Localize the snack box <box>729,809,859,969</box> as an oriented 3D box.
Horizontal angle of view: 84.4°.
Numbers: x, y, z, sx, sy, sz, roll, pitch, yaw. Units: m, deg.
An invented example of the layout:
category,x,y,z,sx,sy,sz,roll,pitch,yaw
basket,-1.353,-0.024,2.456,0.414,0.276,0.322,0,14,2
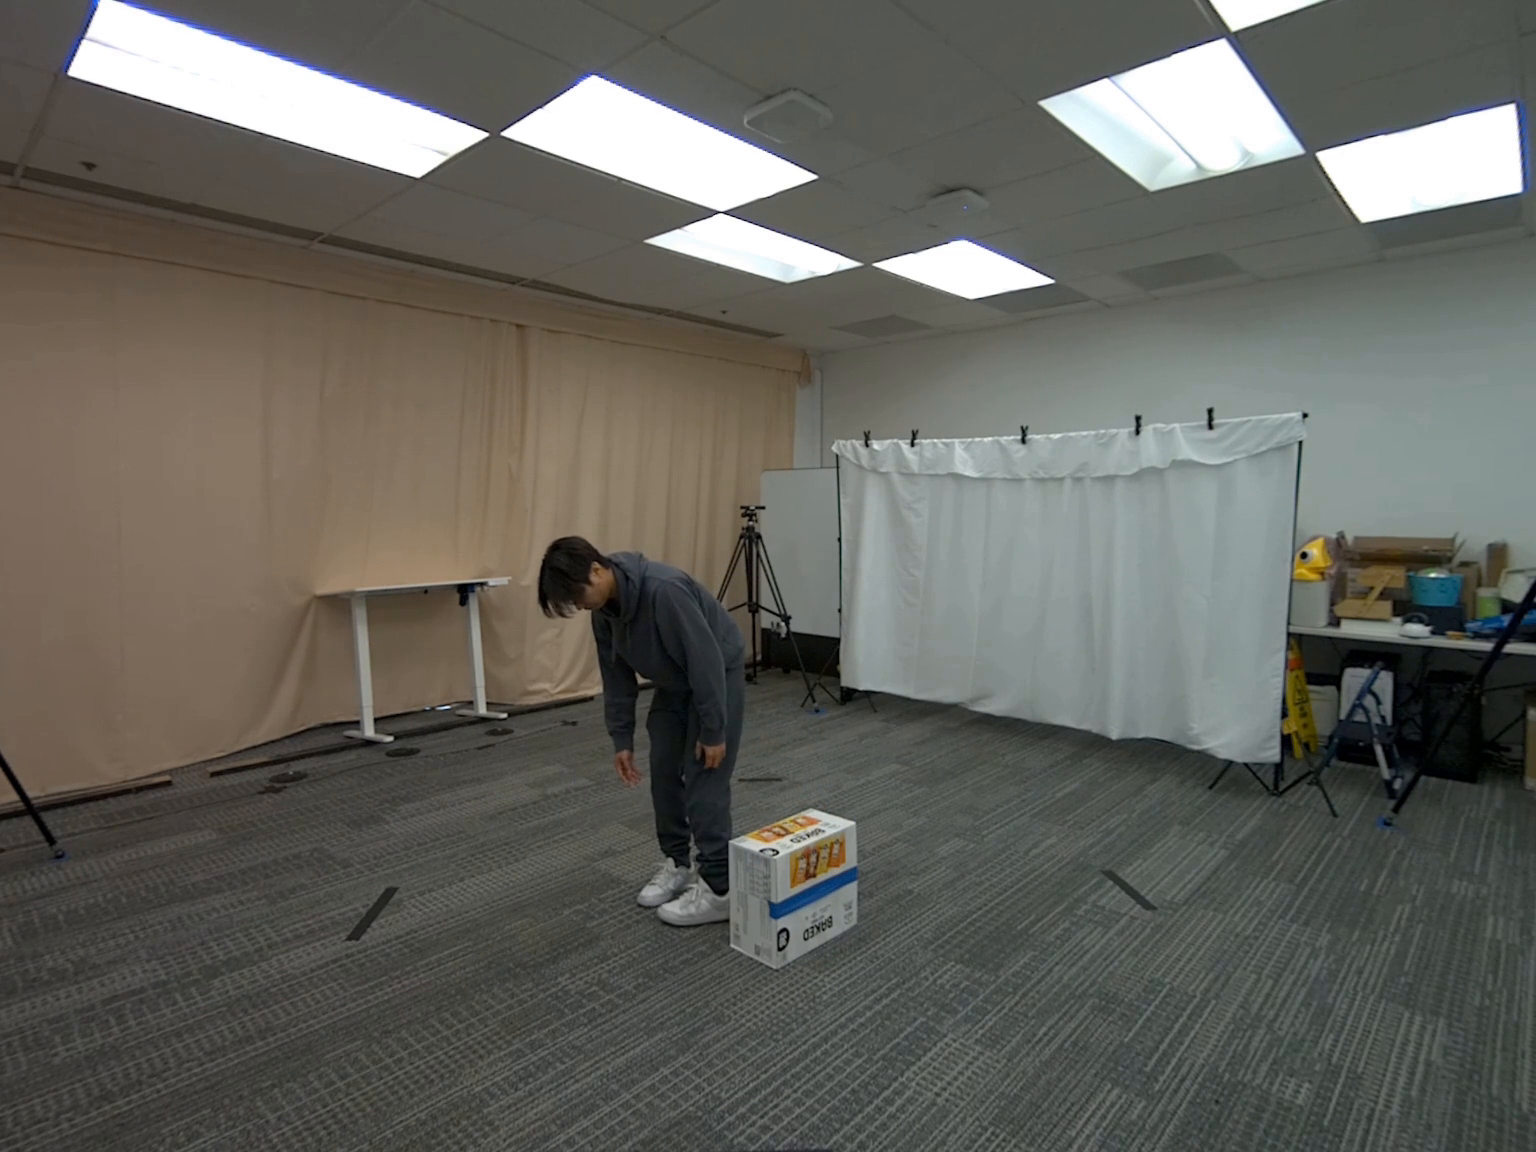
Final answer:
category,x,y,z,sx,sy,sz,roll,pitch,yaw
snack box,0.092,0.998,2.724,0.212,0.340,0.393,1,3,45
